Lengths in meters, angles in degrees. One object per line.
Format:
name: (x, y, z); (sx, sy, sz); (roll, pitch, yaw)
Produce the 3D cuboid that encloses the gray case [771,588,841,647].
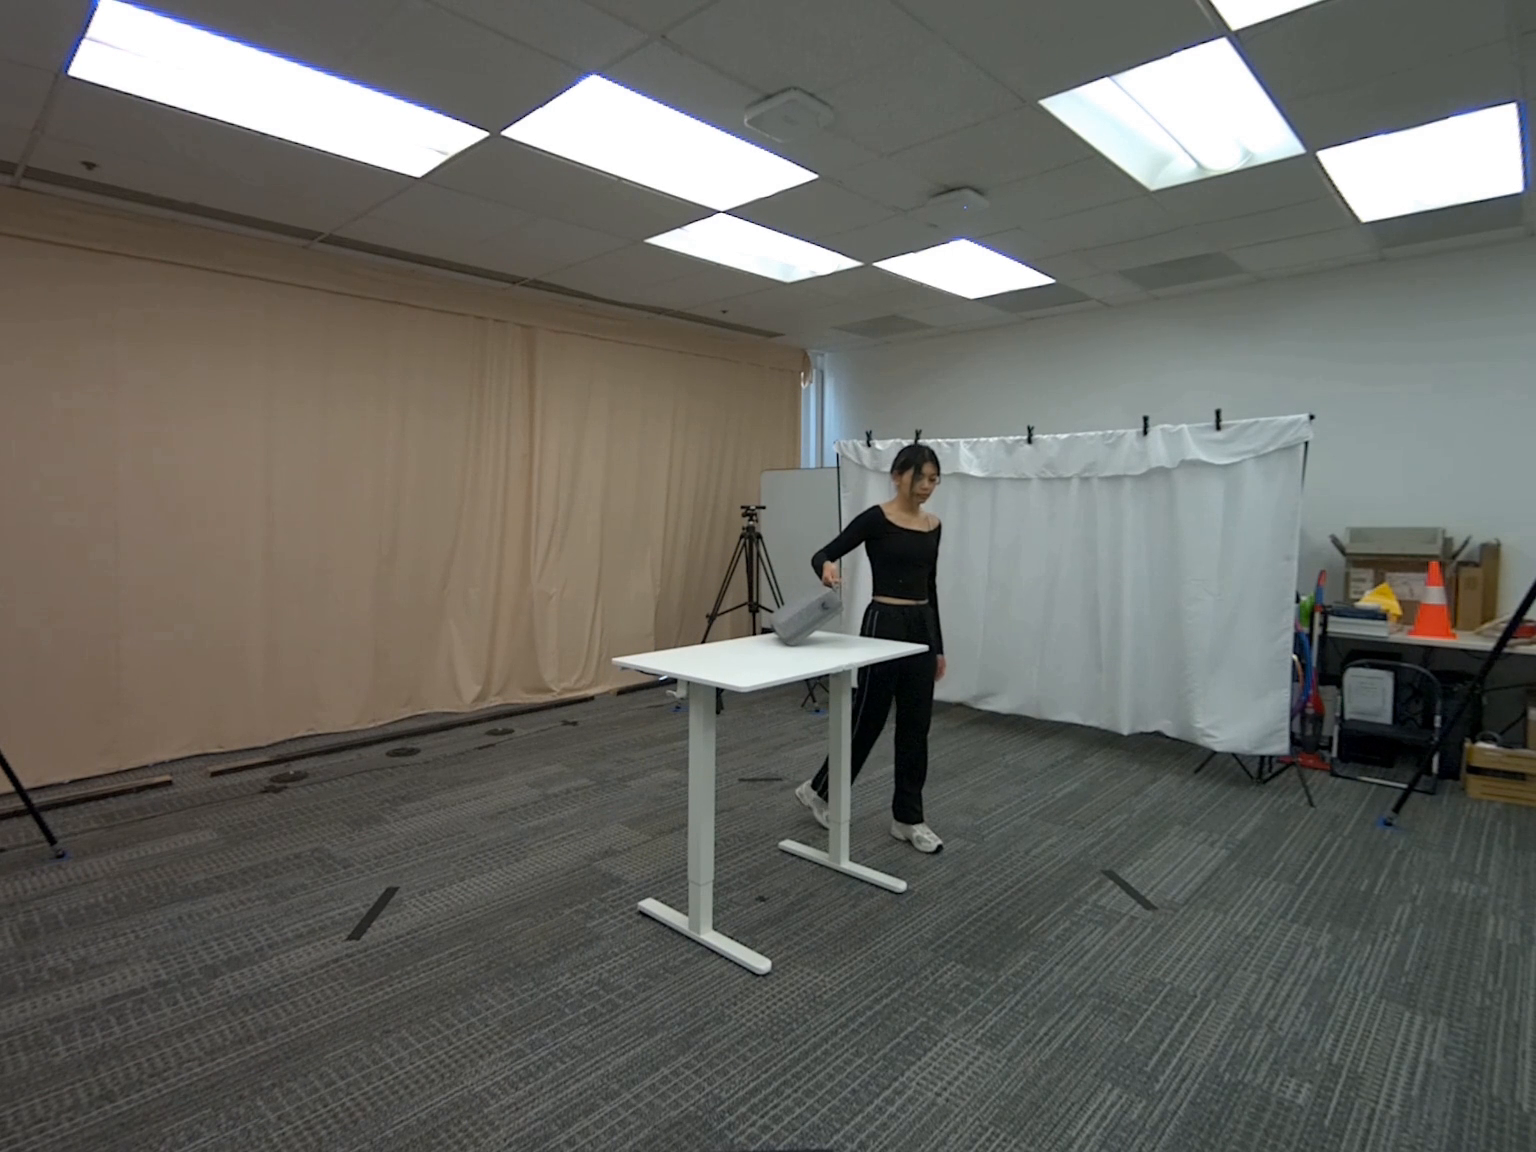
gray case: (0.141, 0.137, 3.142); (0.260, 0.103, 0.260); (-37, 10, -2)
